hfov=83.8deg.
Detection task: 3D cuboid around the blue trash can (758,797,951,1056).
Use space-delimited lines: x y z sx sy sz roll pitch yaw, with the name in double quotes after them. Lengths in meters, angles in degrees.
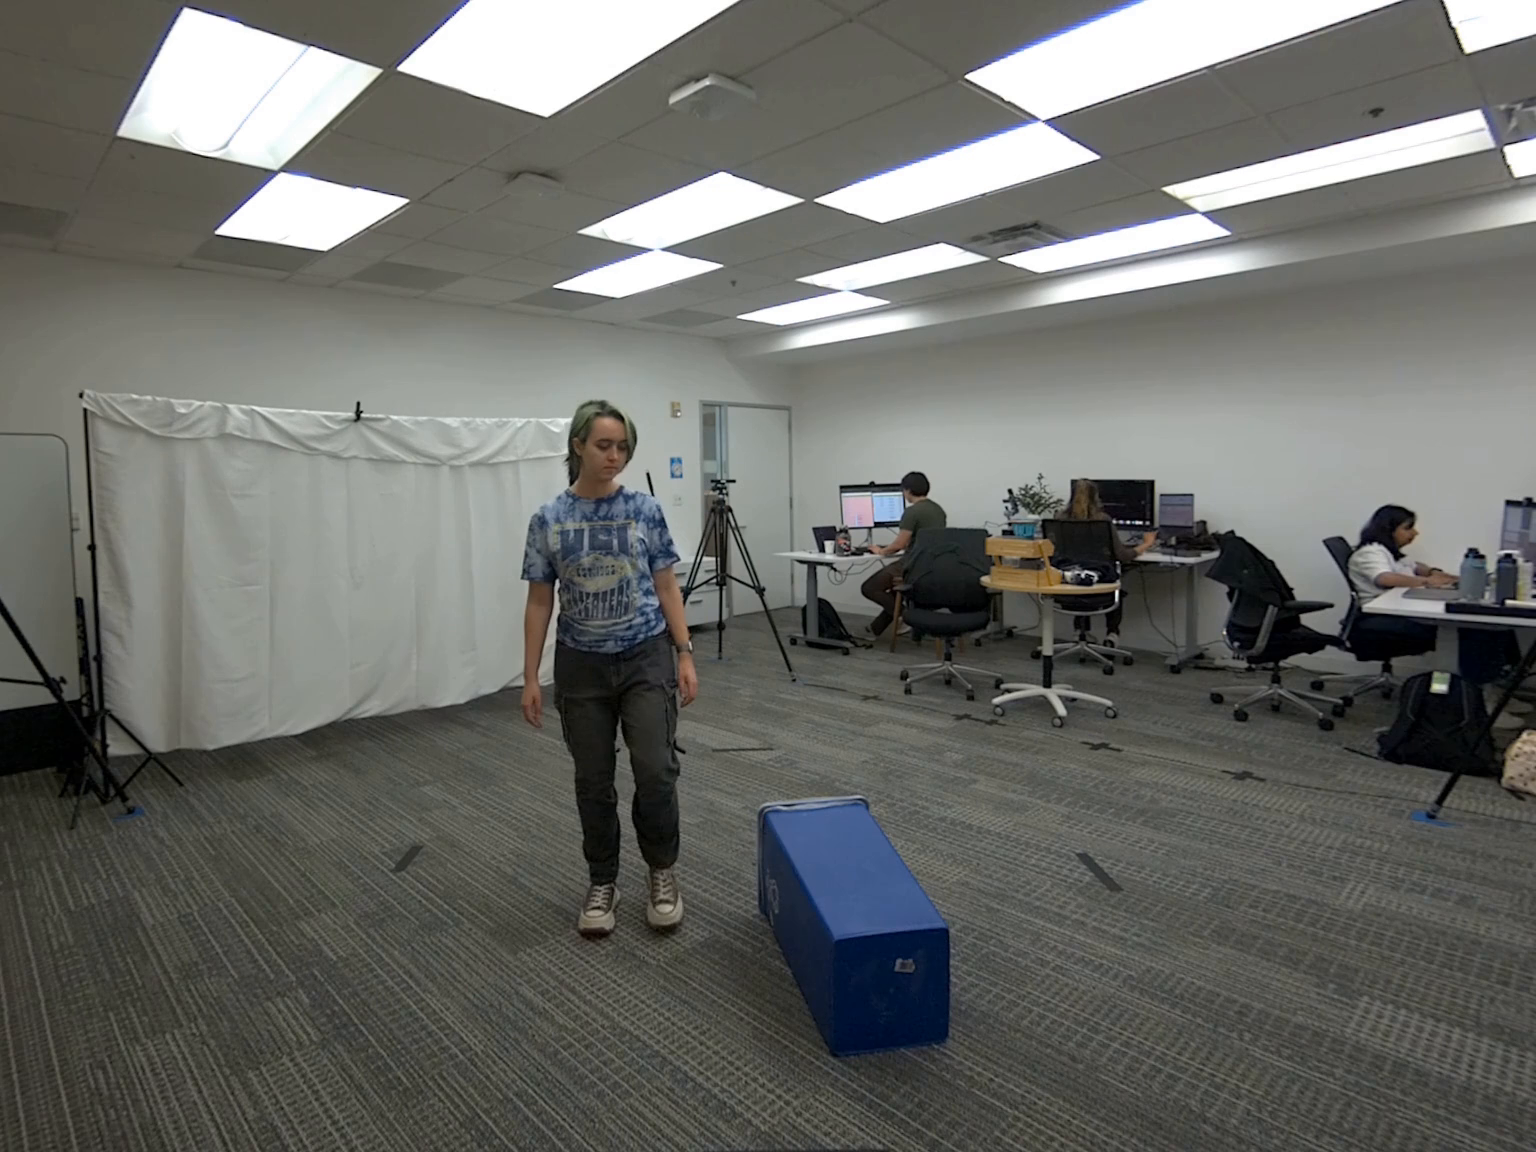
0.230 0.948 2.417 0.374 0.372 0.725 -2 7 -12 "blue trash can"
